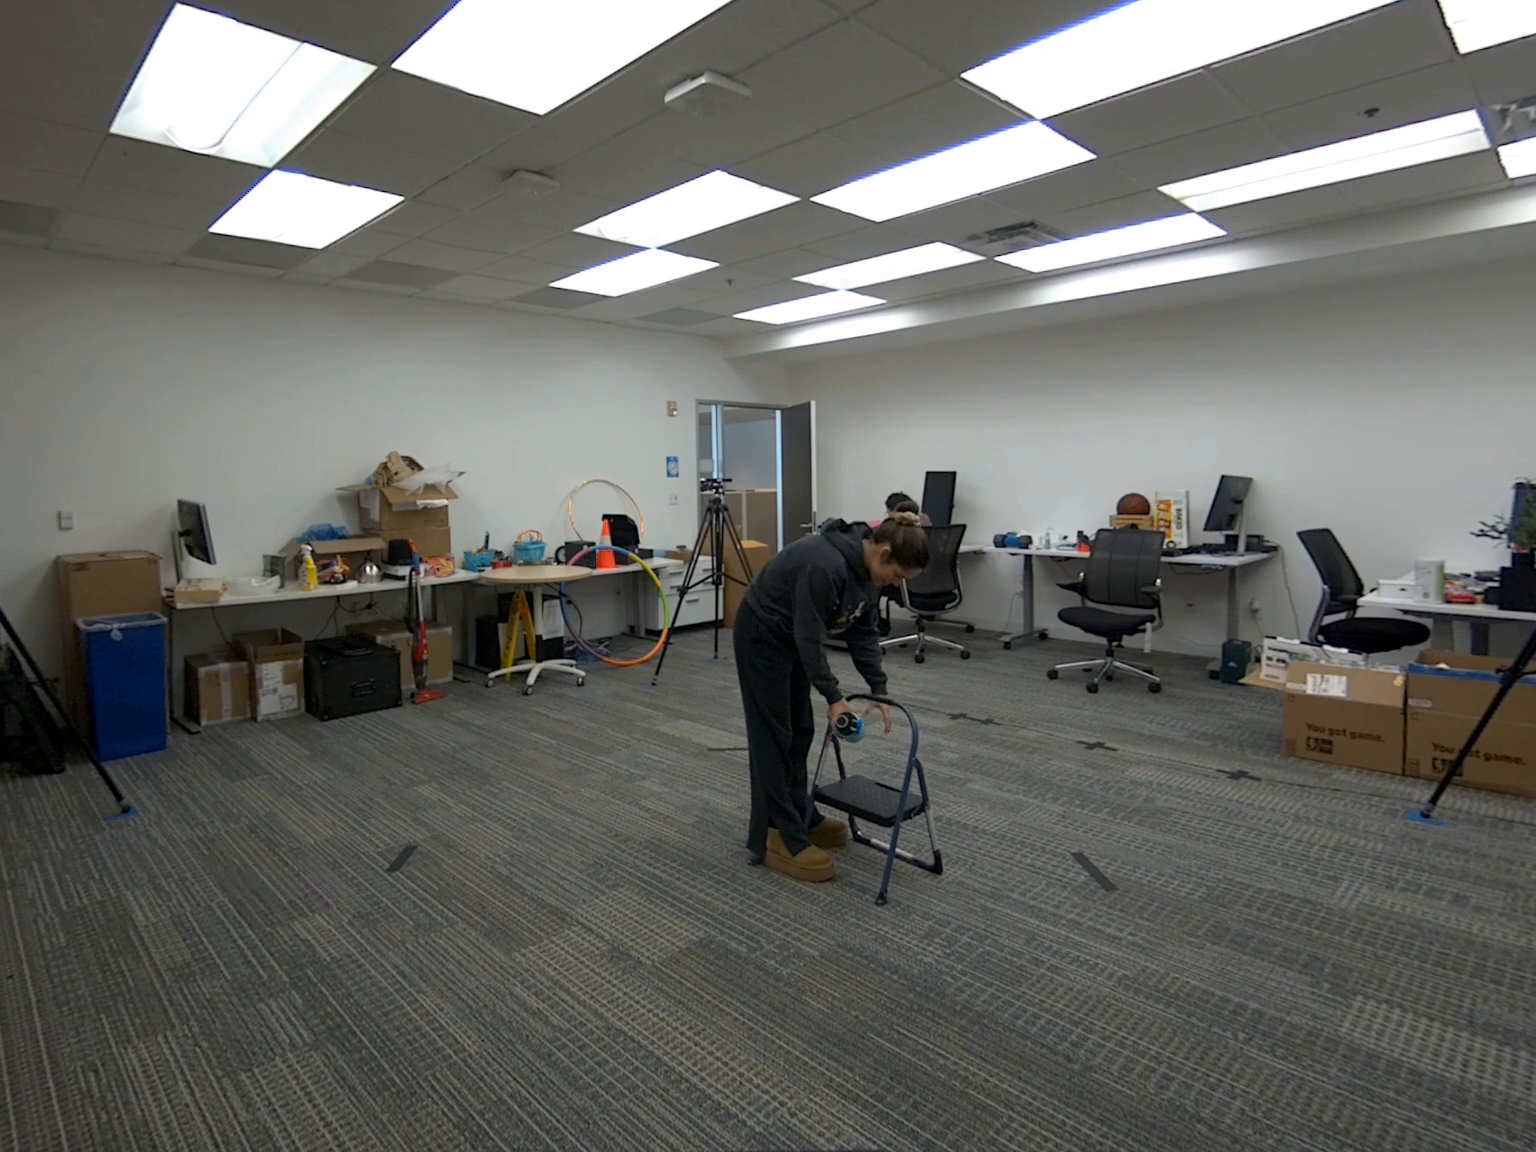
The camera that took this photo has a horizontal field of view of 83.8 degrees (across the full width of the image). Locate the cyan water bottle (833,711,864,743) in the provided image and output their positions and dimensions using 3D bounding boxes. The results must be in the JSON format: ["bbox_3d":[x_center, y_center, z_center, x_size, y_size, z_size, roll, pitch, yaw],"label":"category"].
[{"bbox_3d":[0.291,0.519,2.967,0.093,0.093,0.277,0,-13,8],"label":"cyan water bottle"}]
